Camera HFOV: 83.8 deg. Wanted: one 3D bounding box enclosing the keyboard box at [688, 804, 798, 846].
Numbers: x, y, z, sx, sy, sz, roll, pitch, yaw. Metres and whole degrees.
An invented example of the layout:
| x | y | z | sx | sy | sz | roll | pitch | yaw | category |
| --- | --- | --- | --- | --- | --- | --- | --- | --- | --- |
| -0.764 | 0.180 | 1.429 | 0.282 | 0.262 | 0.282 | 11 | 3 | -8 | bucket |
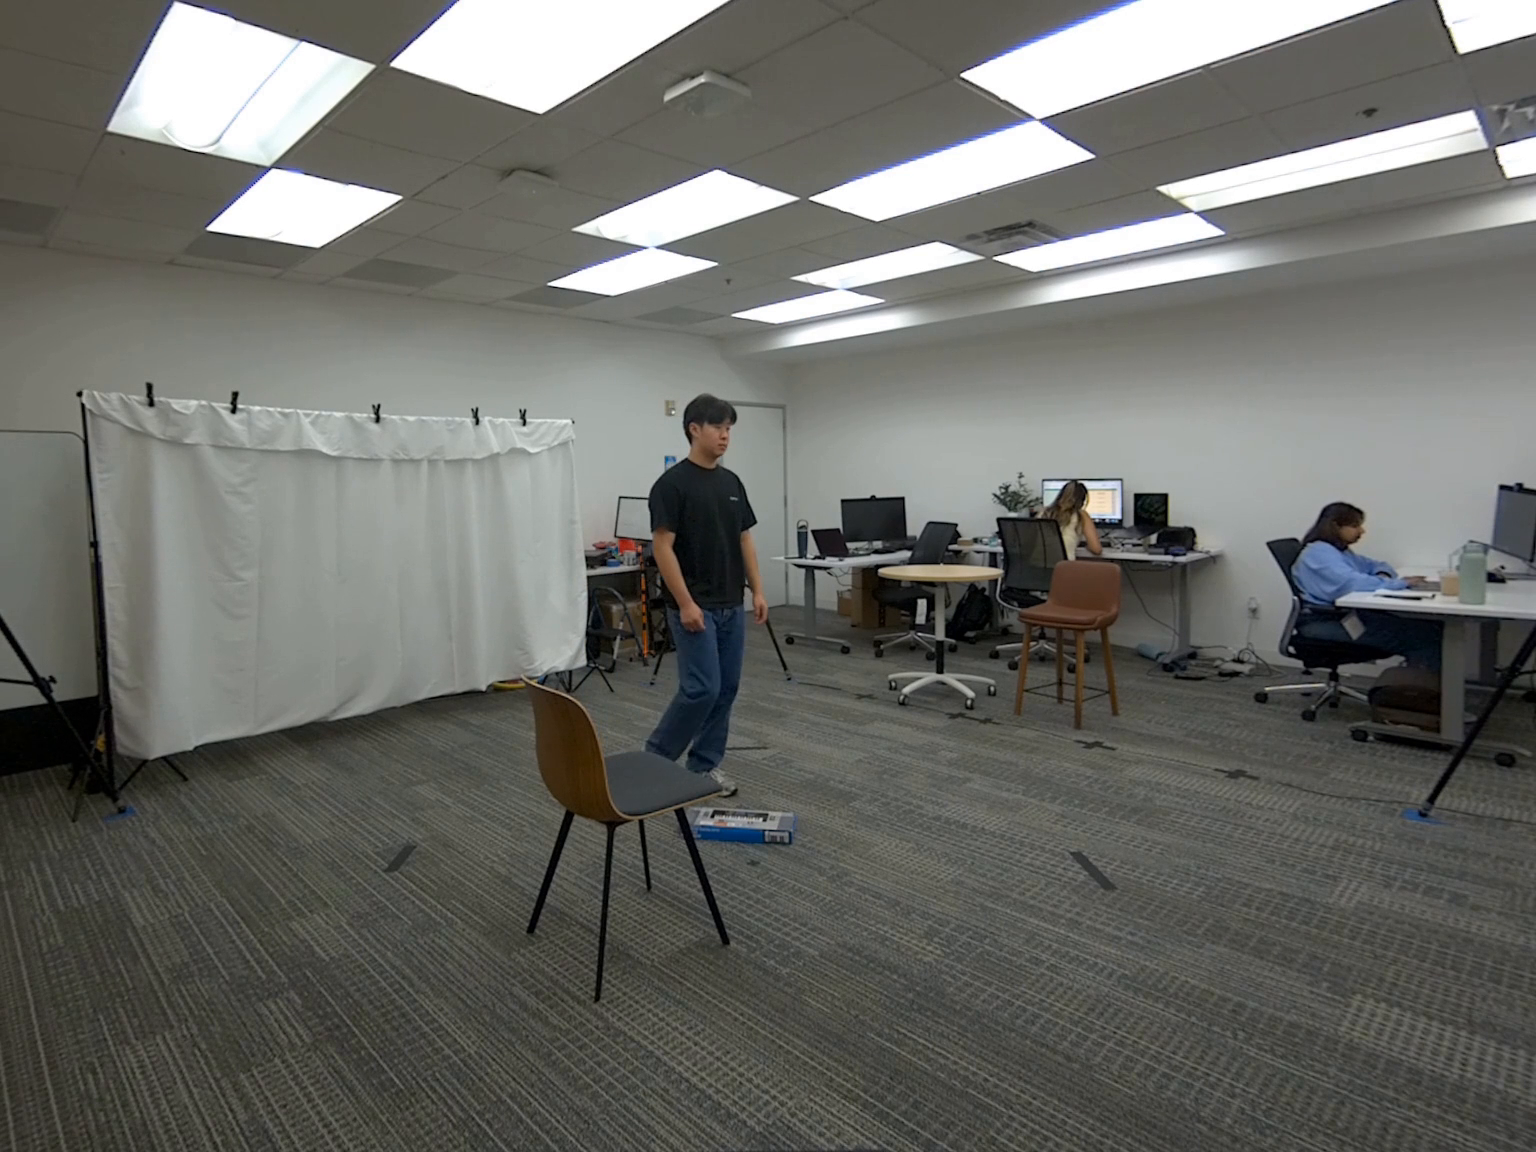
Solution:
| x | y | z | sx | sy | sz | roll | pitch | yaw | category |
| --- | --- | --- | --- | --- | --- | --- | --- | --- | --- |
| -0.115 | 0.983 | 3.372 | 0.441 | 0.059 | 0.175 | 0 | 7 | 10 | keyboard box |
